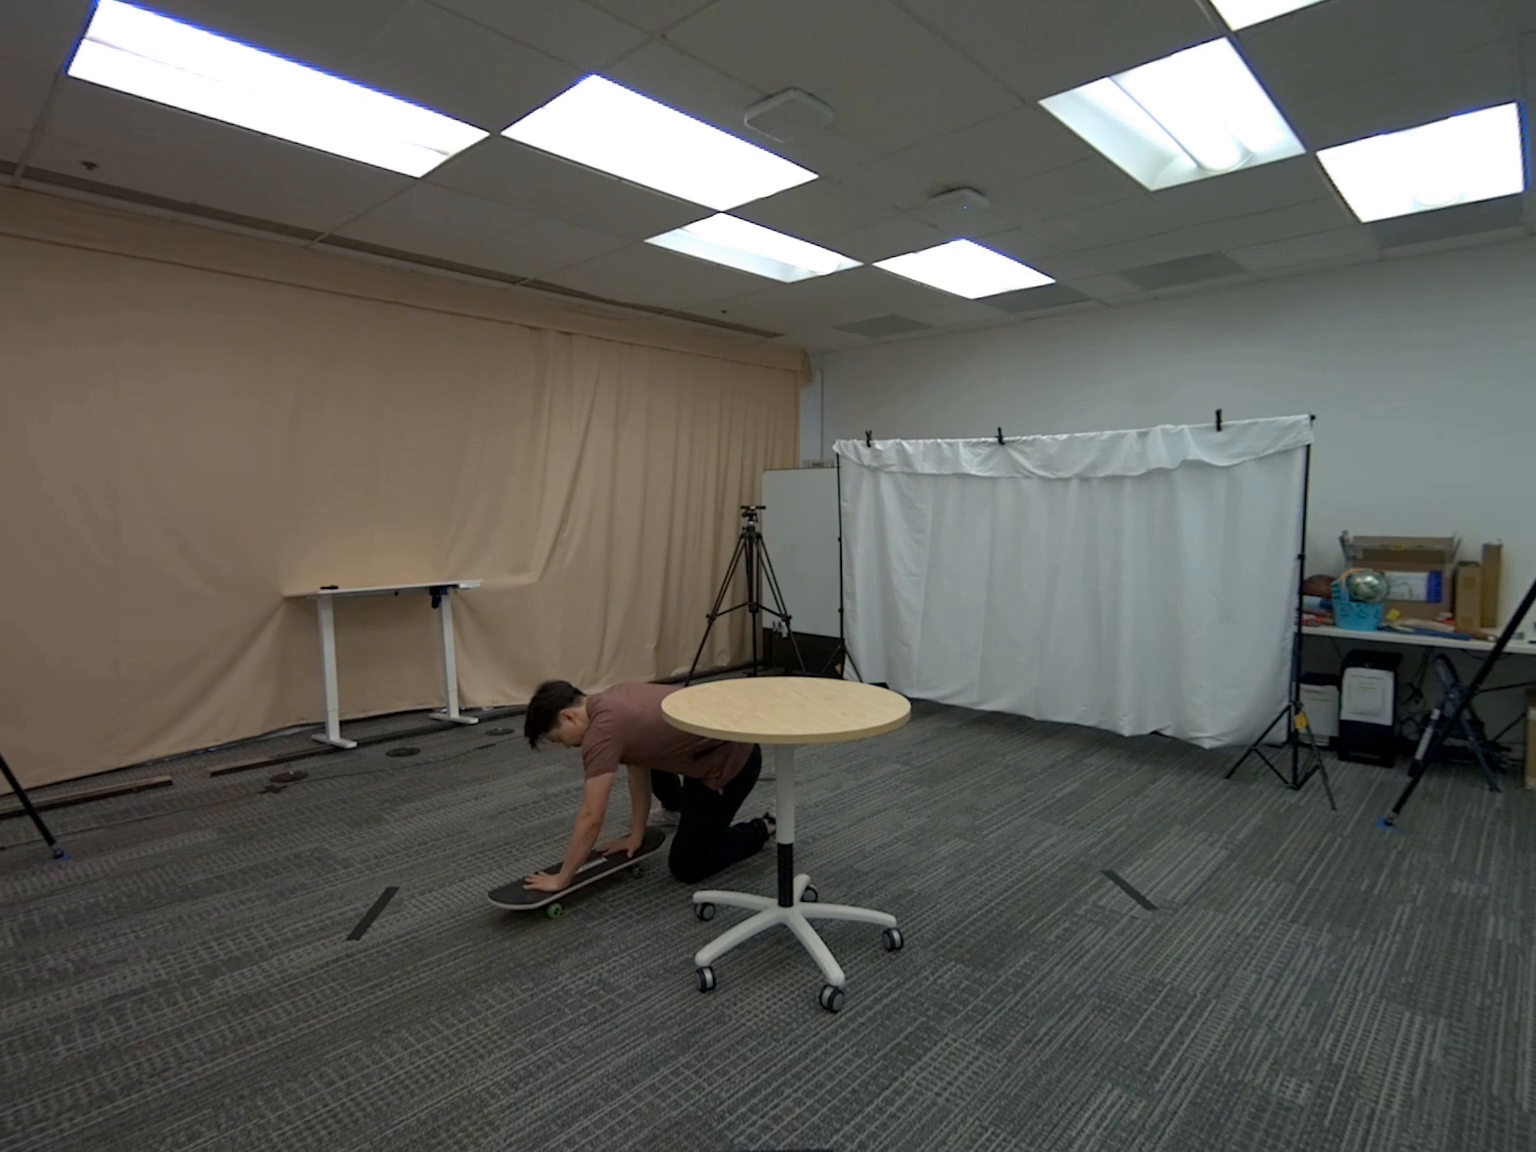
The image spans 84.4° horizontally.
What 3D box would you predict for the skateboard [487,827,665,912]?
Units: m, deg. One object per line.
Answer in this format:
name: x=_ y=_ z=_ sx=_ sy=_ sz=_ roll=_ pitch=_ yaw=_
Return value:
skateboard: x=-0.661 y=1.085 z=3.050 sx=0.200 sy=0.110 sz=0.762 roll=2 pitch=5 yaw=38
